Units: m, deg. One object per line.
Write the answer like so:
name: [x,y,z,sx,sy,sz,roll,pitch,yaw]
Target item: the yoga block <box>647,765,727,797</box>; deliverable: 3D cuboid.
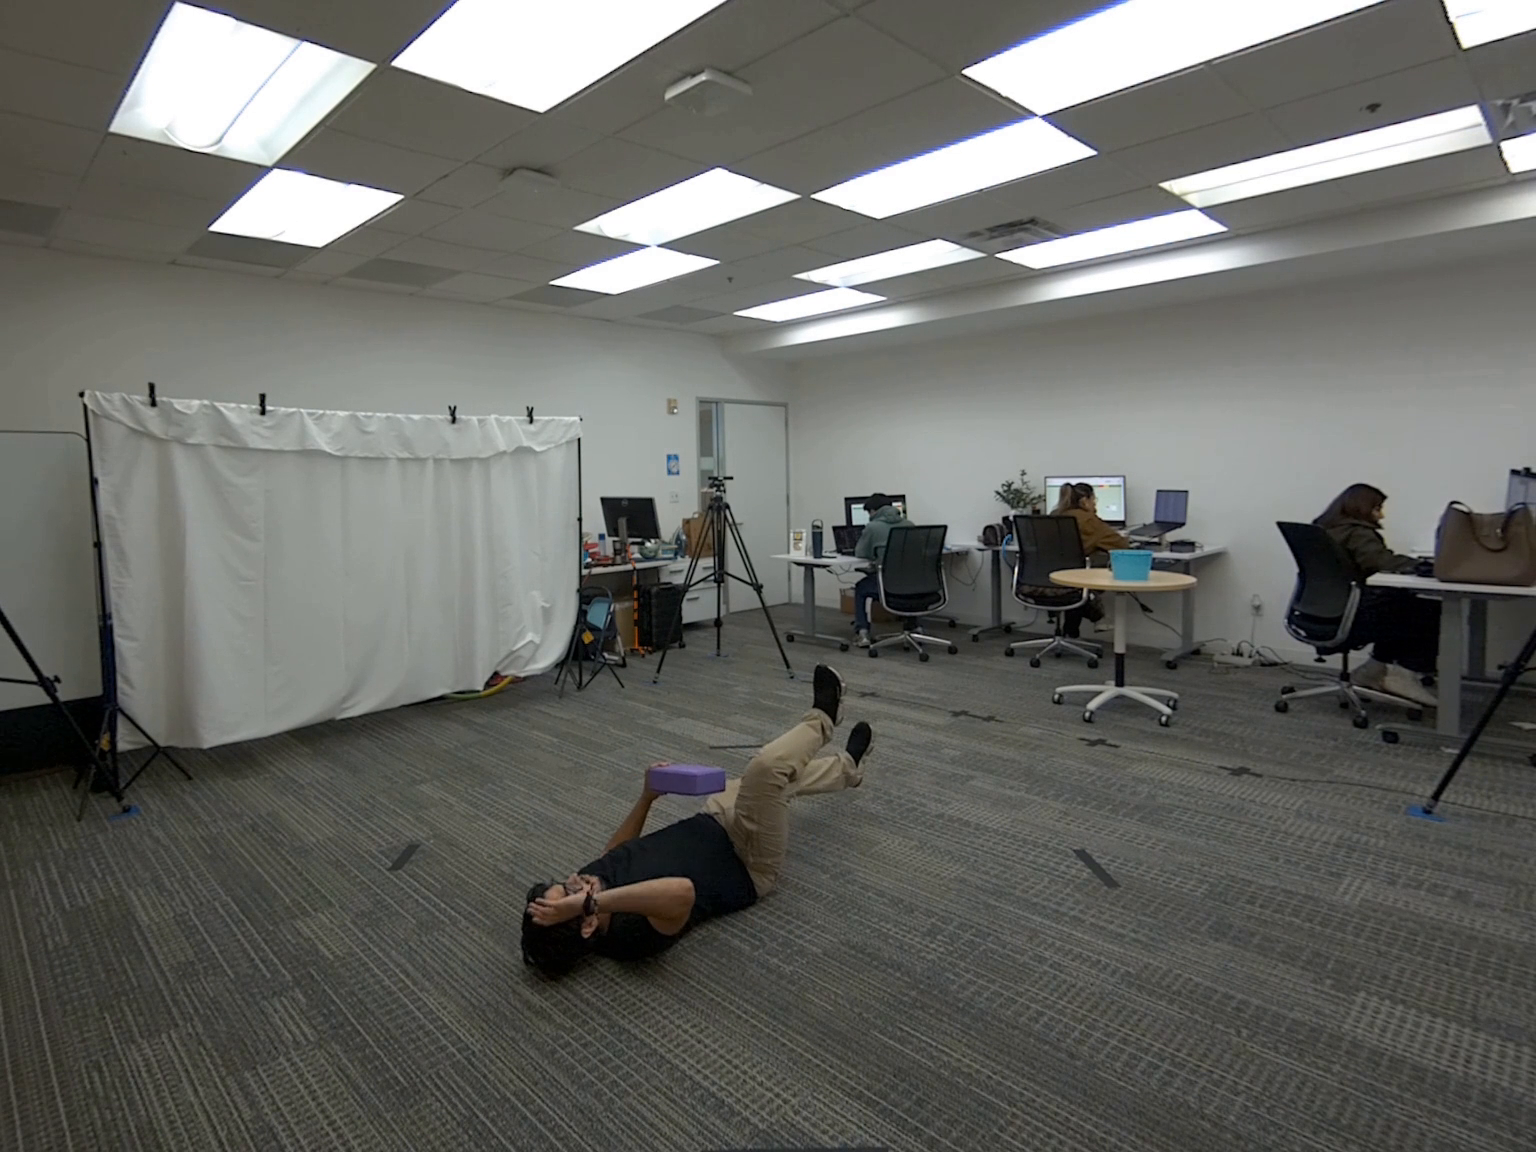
yoga block: [-0.258,0.681,2.836,0.235,0.077,0.144,-6,-9,40]
